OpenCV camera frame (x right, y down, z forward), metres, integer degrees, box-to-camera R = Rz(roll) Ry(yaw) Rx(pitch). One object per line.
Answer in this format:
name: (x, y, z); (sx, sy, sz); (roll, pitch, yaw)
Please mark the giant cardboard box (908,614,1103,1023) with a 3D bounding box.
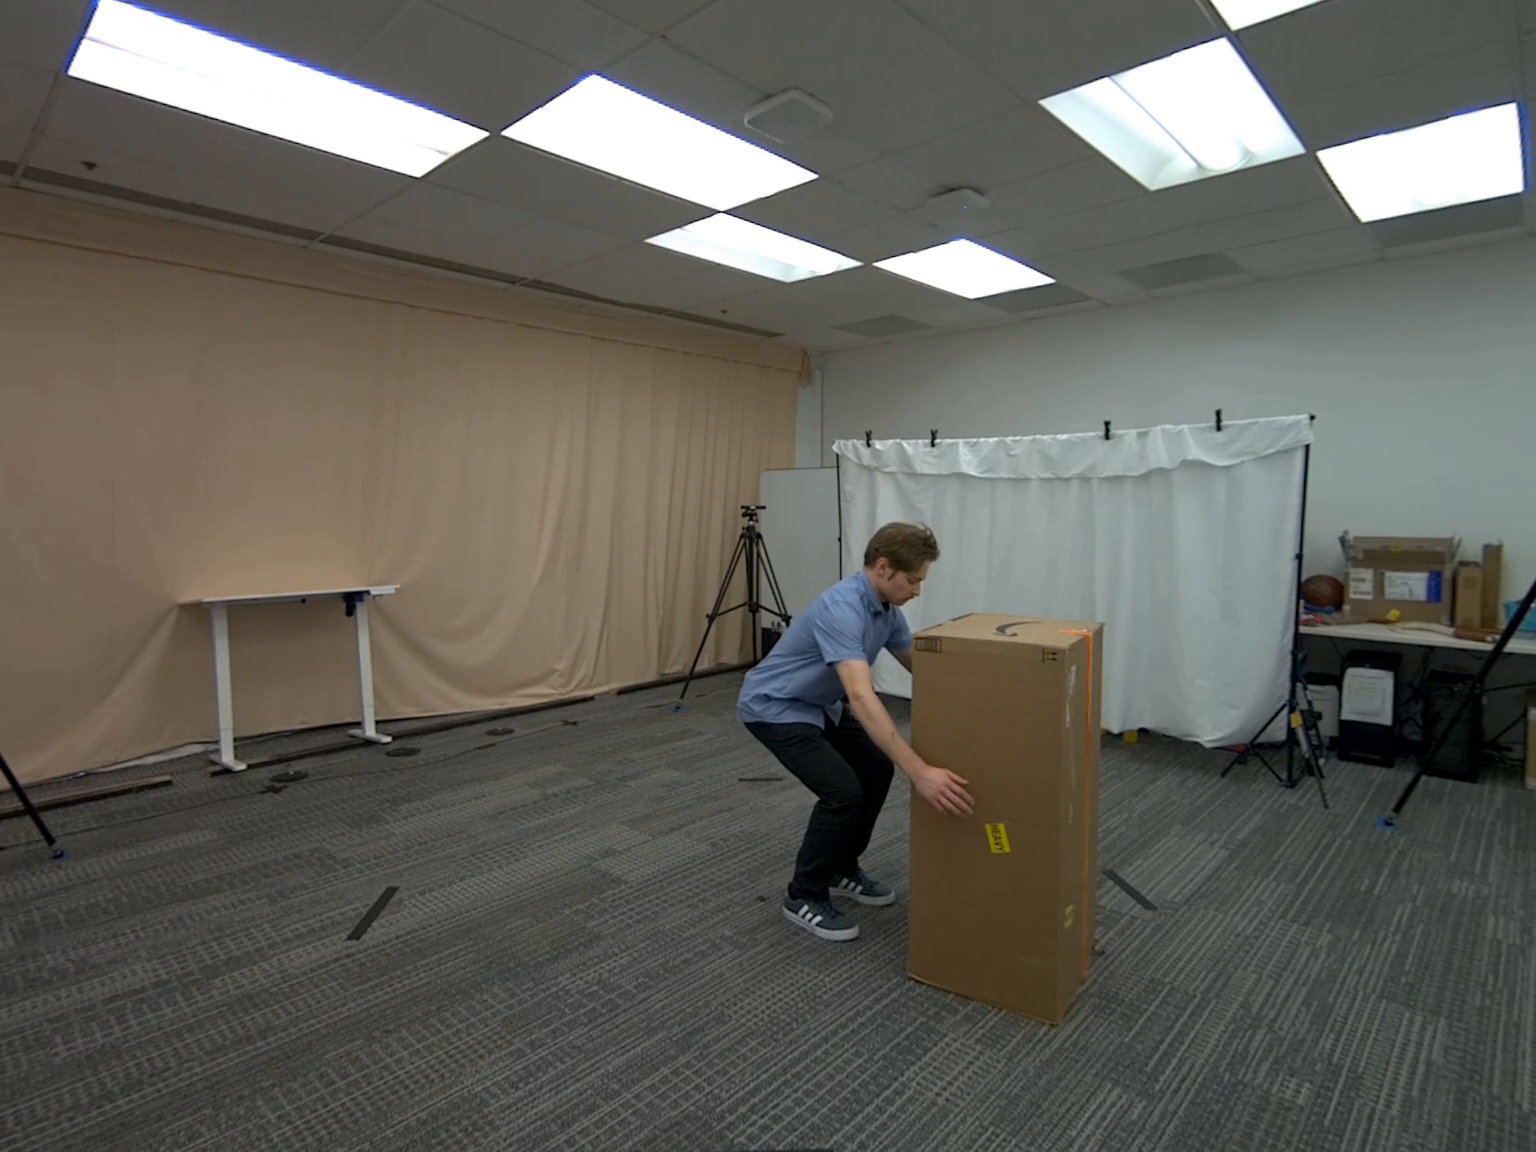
giant cardboard box: (0.751, 0.668, 2.567); (0.439, 1.024, 0.561); (2, 4, 33)
